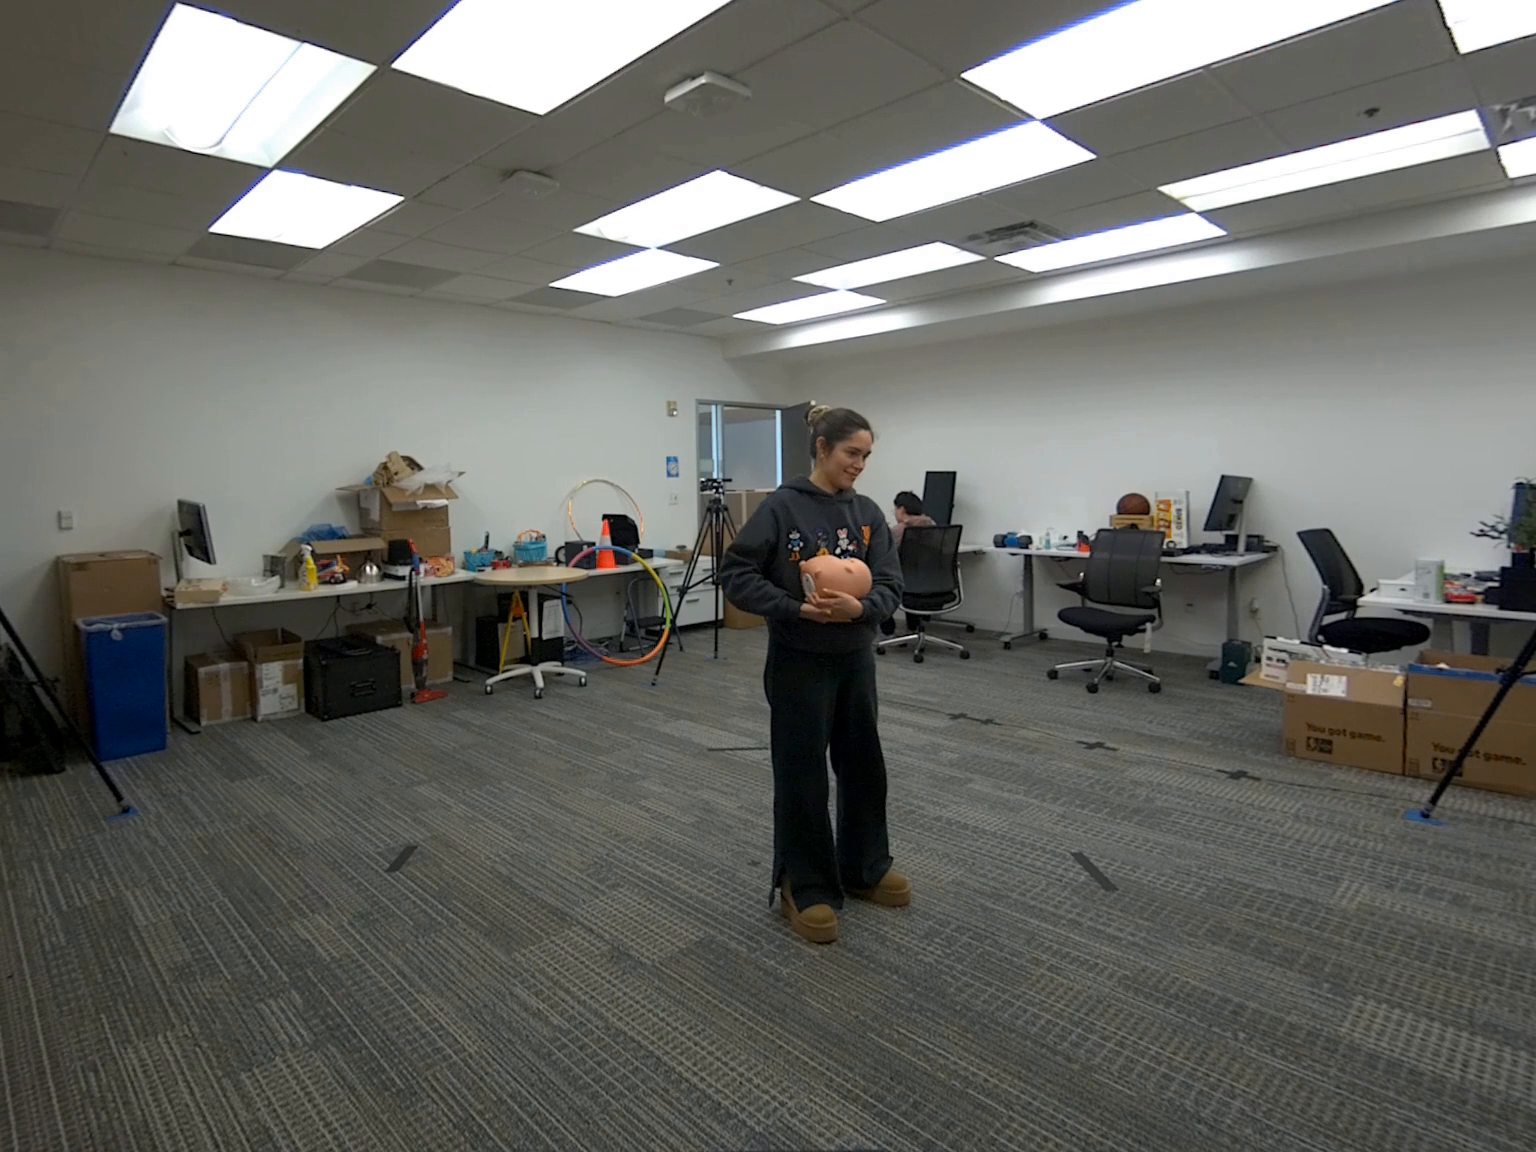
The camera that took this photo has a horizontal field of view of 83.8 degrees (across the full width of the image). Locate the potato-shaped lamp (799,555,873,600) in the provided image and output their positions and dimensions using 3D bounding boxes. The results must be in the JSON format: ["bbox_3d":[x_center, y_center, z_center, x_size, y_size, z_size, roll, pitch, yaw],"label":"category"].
[{"bbox_3d":[0.196,0.017,2.490,0.195,0.169,0.169,-15,15,-22],"label":"potato-shaped lamp"}]
